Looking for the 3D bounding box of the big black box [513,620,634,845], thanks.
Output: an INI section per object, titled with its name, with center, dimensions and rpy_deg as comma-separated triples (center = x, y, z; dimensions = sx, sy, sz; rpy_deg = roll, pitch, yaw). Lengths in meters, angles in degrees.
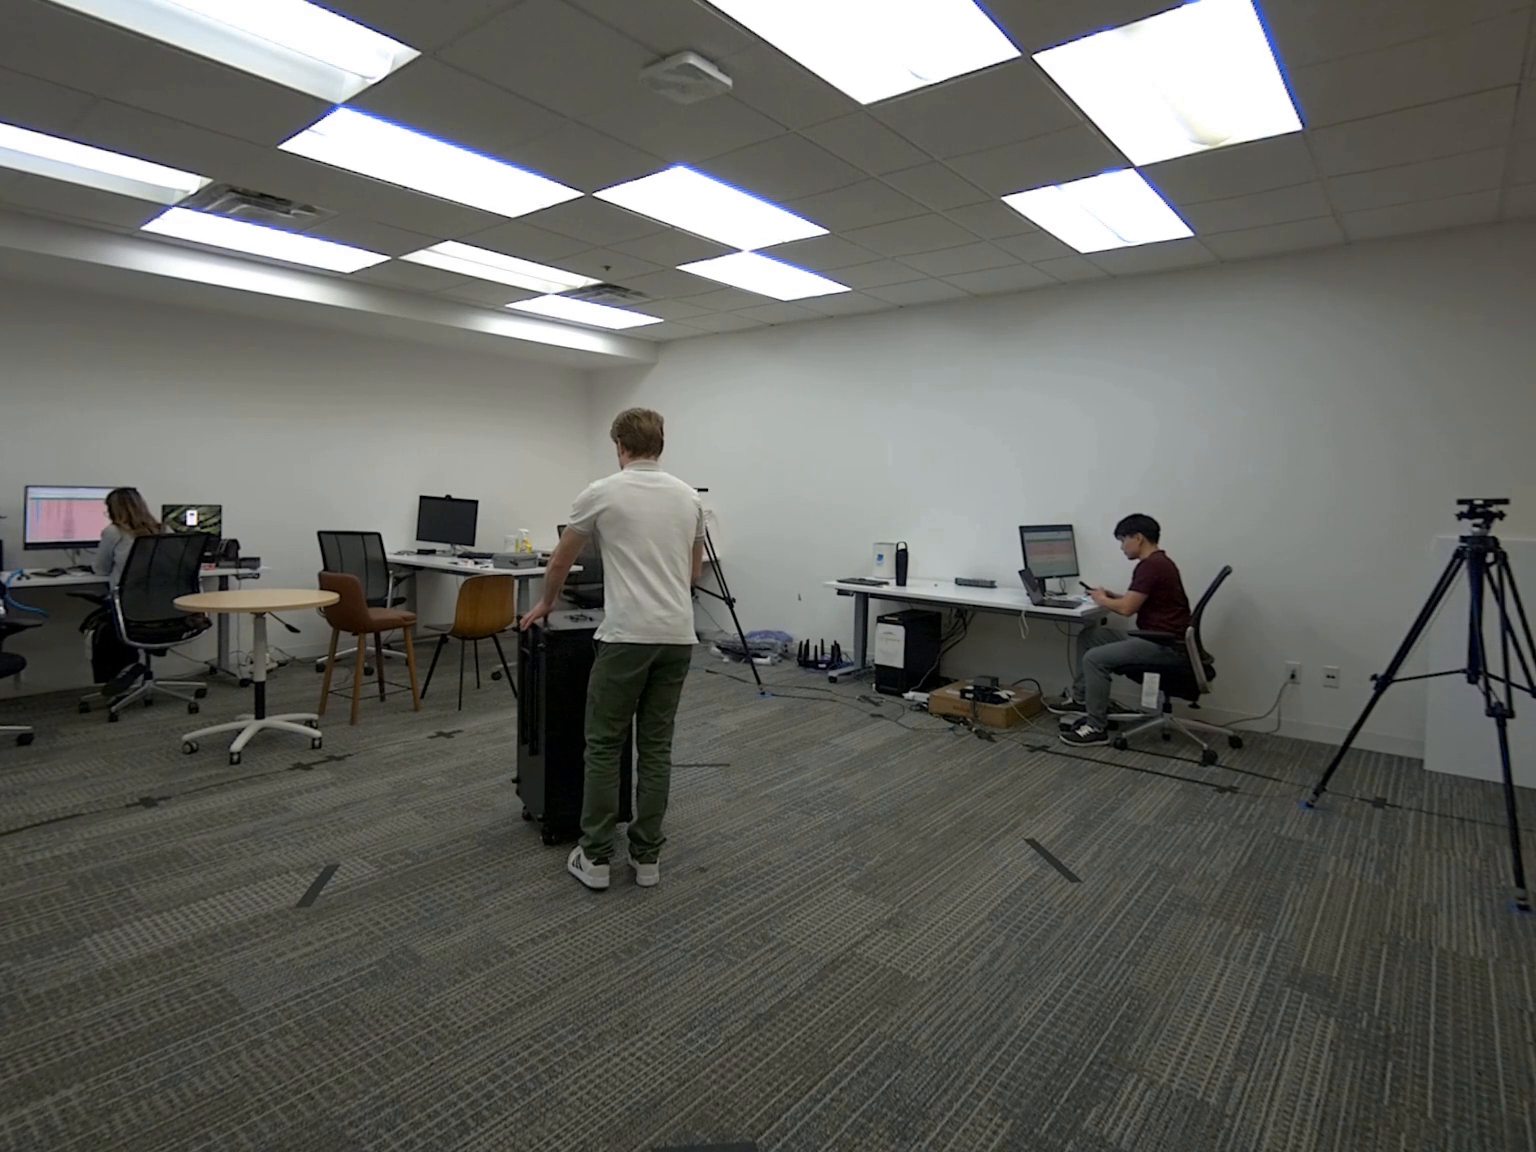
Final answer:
[big black box]
center = -0.817, 0.602, 3.483
dimensions = 0.375, 0.867, 0.538
rpy_deg = 0, 3, -28
